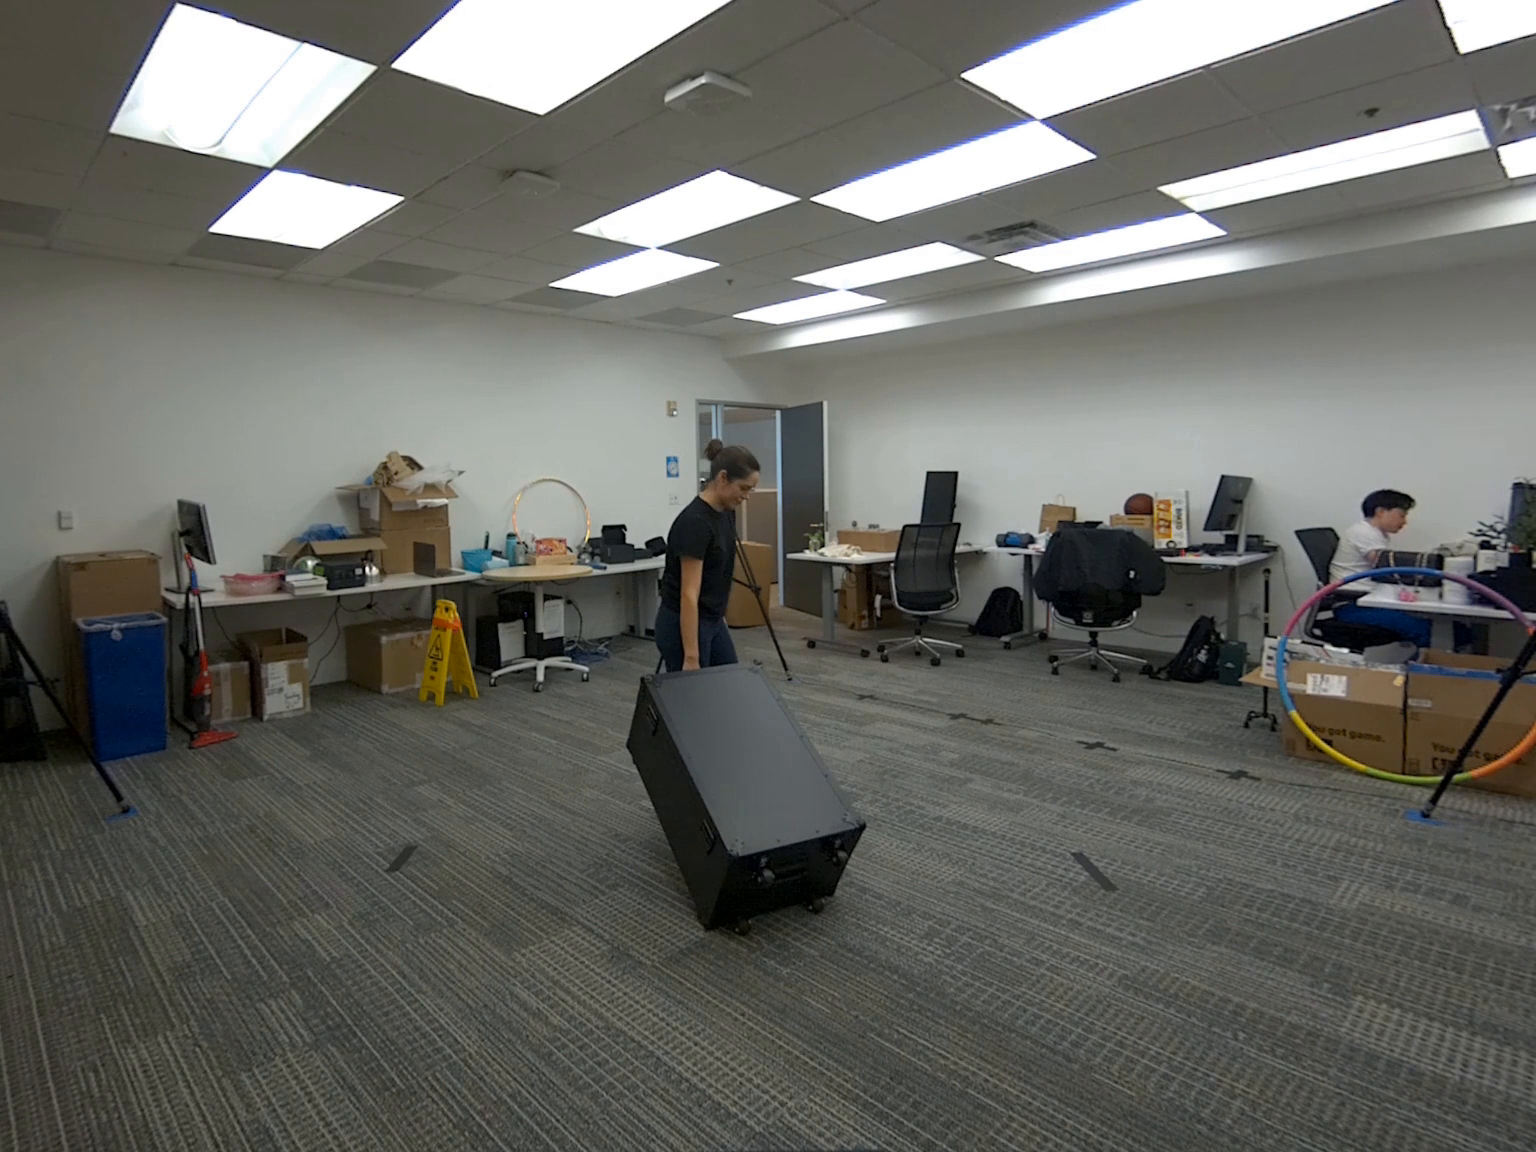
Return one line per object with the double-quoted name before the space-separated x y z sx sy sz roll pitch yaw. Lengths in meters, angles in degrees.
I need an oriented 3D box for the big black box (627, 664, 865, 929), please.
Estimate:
"big black box" -0.105 0.736 2.941 0.509 0.390 0.896 -4 36 -29
